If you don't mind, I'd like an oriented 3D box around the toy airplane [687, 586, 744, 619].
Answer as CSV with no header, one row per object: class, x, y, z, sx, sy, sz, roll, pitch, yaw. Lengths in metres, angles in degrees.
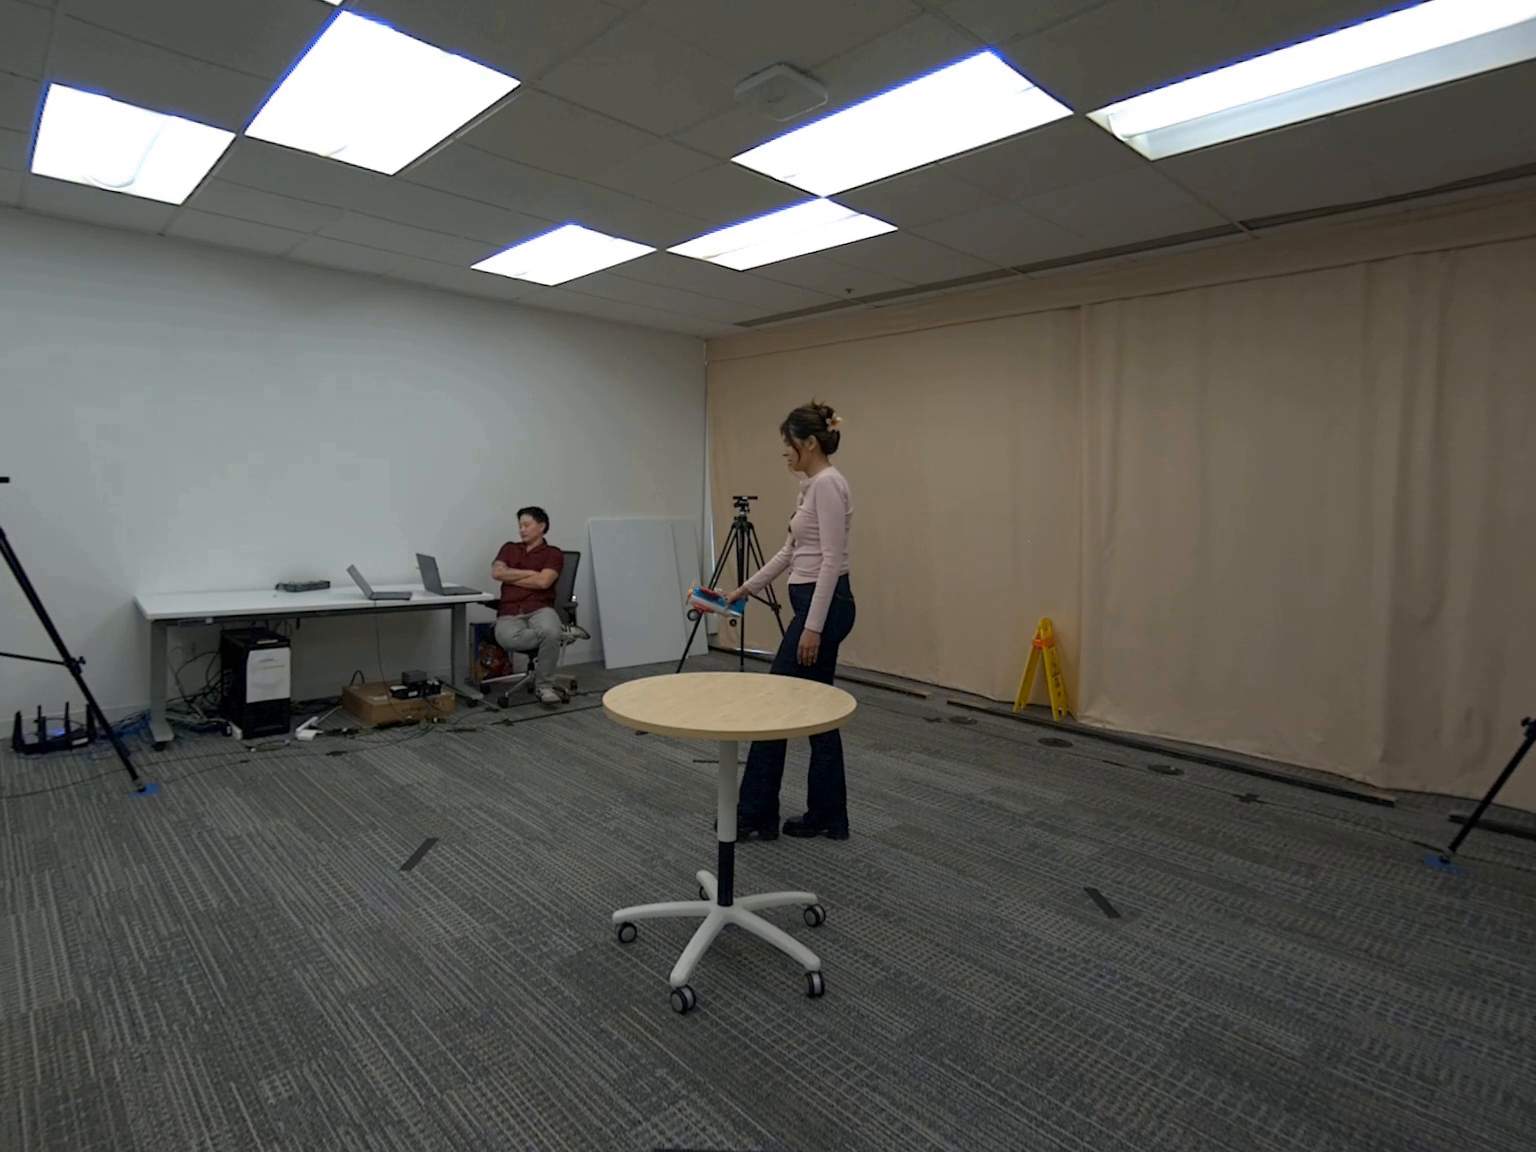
toy airplane,-0.238,0.132,3.712,0.253,0.157,0.256,8,-3,-30
